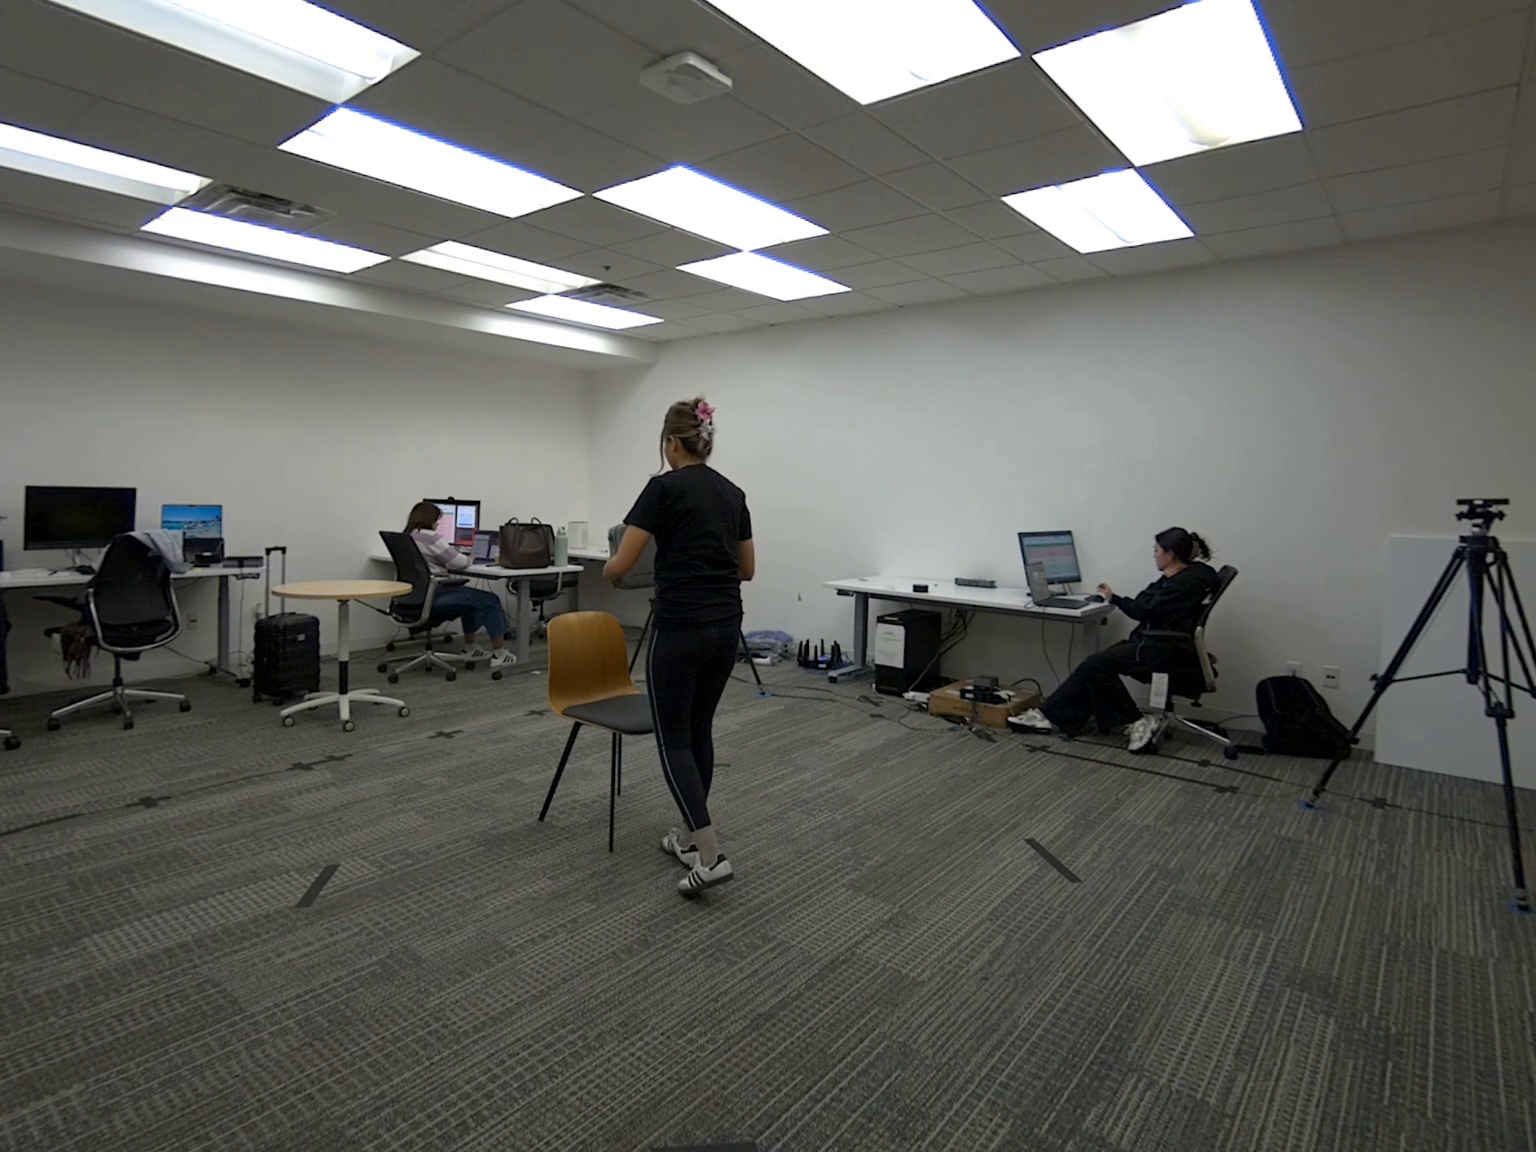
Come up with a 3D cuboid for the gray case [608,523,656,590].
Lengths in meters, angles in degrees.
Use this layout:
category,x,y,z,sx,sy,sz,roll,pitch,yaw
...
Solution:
category,x,y,z,sx,sy,sz,roll,pitch,yaw
gray case,-0.502,-0.085,3.346,0.249,0.261,0.107,-4,-3,-38
